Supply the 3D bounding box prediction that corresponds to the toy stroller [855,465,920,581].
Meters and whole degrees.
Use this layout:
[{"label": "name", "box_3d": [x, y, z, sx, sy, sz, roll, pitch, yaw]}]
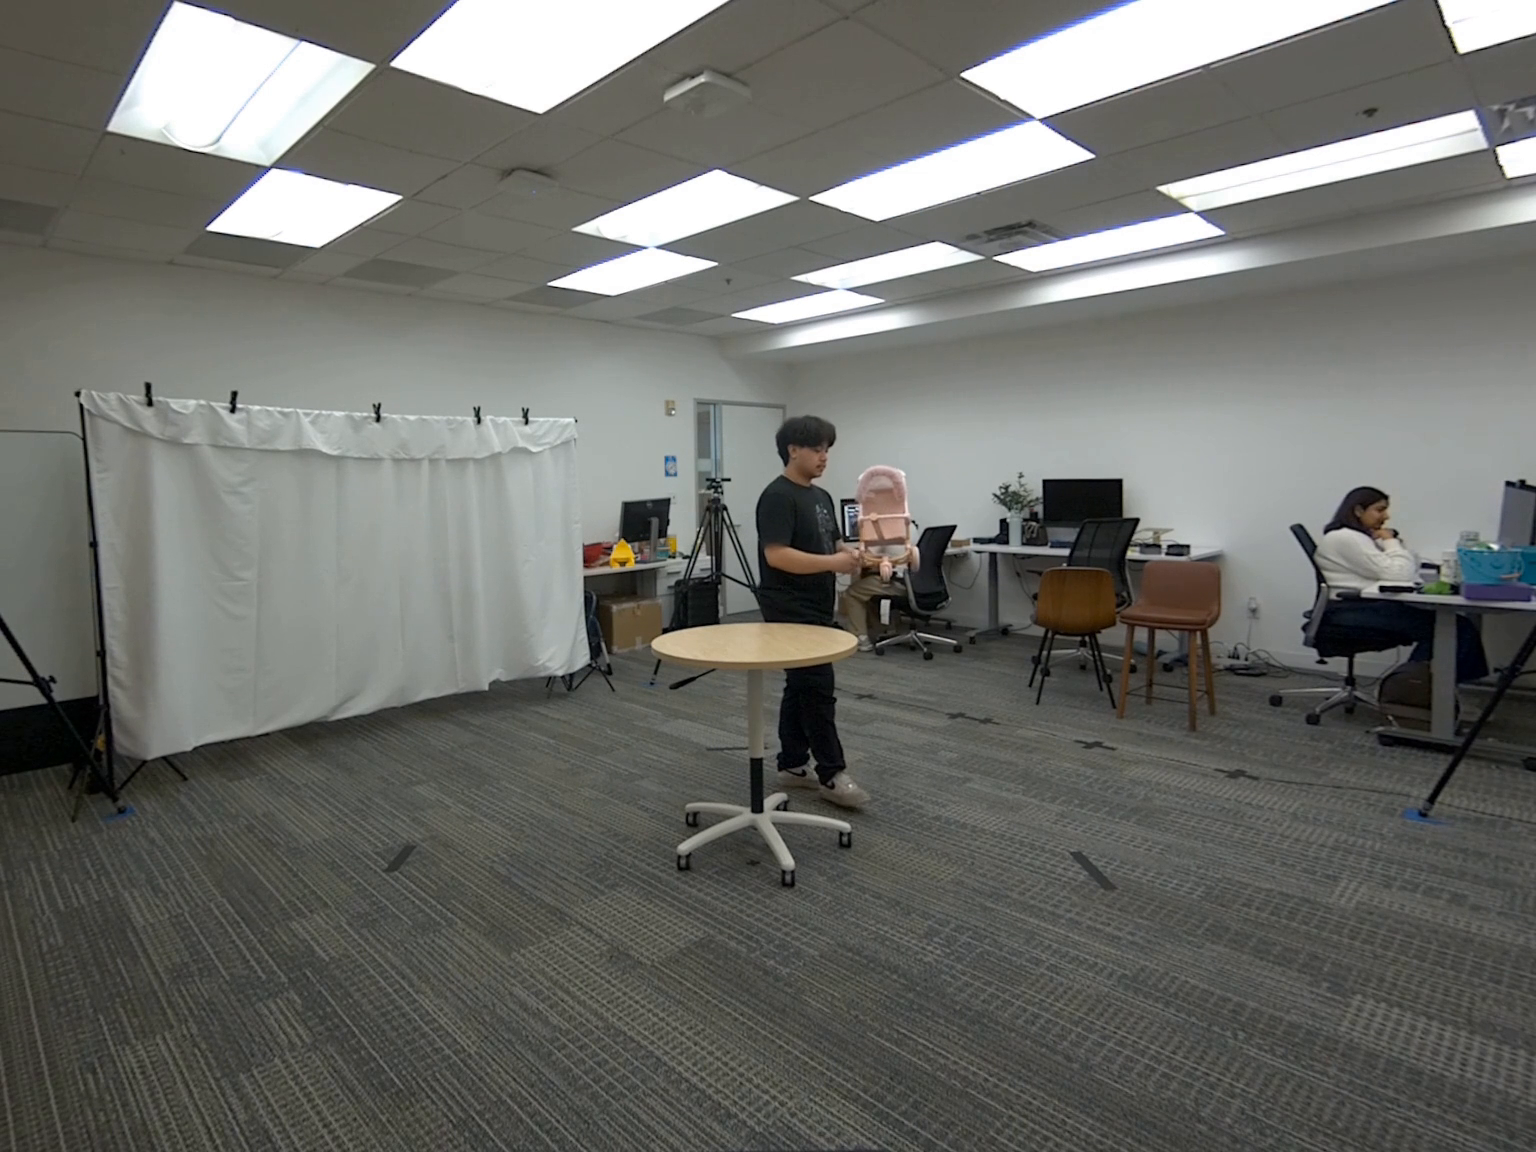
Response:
[{"label": "toy stroller", "box_3d": [0.482, -0.225, 3.606, 0.285, 0.540, 0.334, -4, -9, 13]}]
